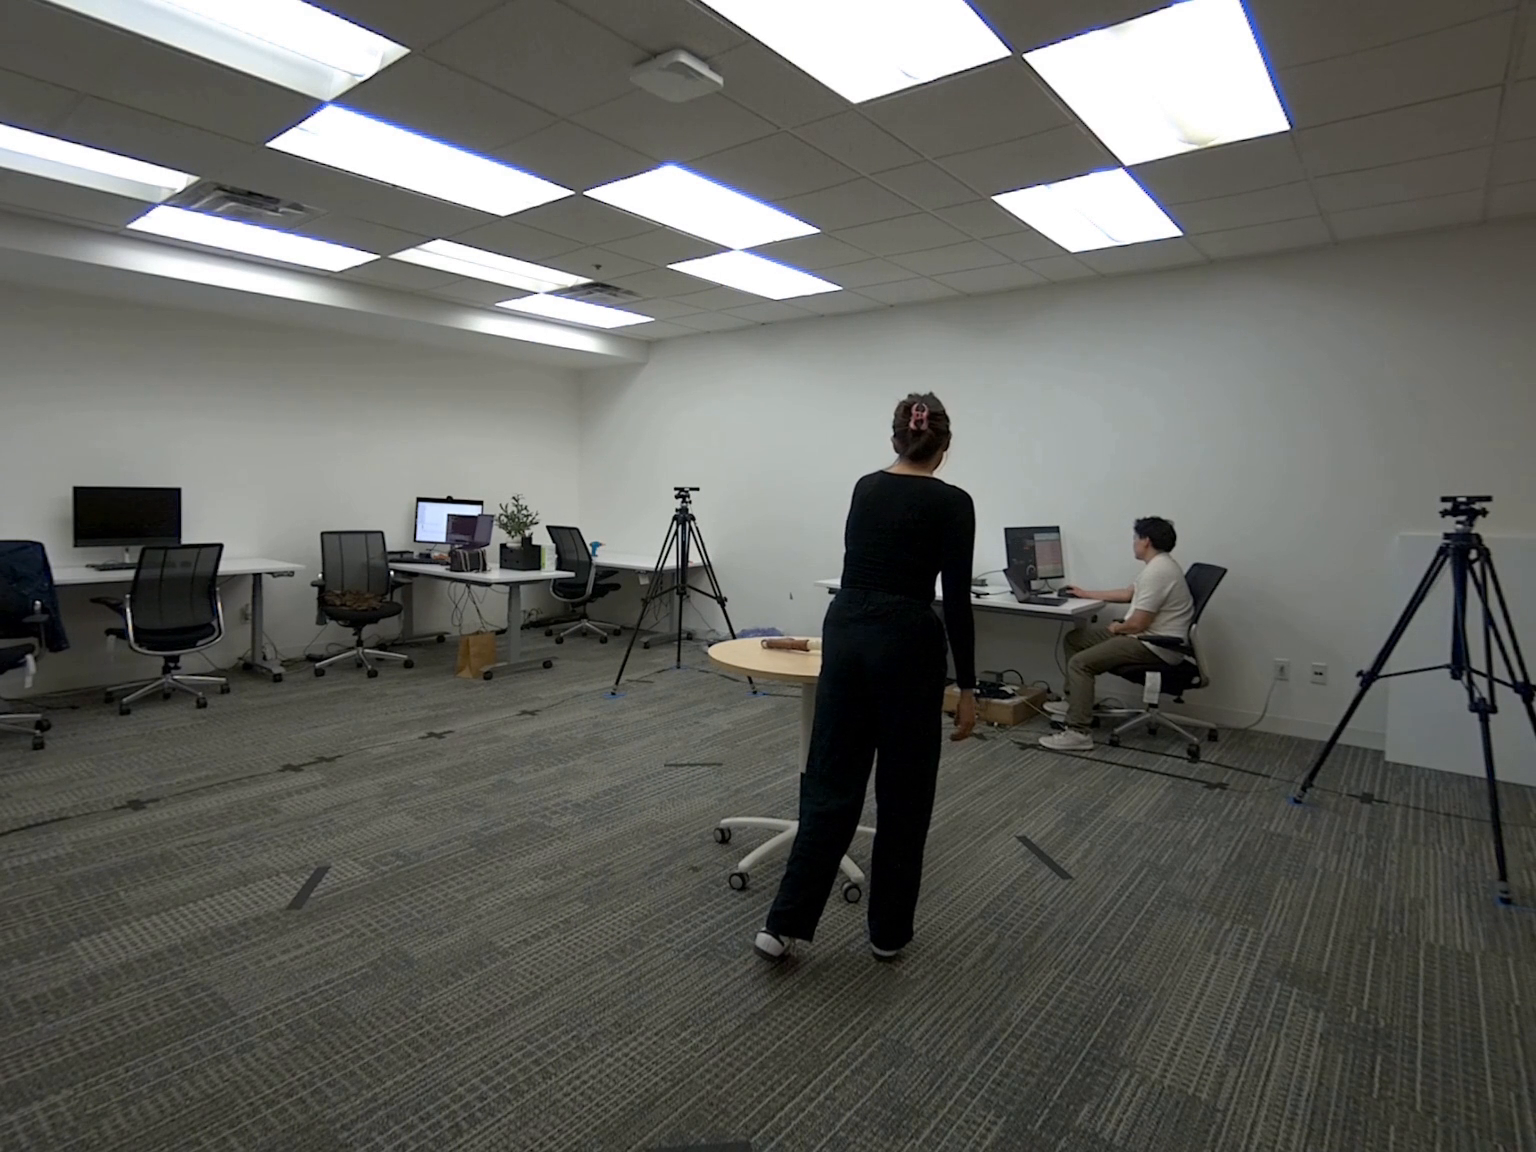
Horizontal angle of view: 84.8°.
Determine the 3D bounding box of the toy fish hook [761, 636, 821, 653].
[{"bbox_3d":[0.168,0.265,3.082,0.521,0.048,0.220,0,11,30],"label":"toy fish hook"}]
